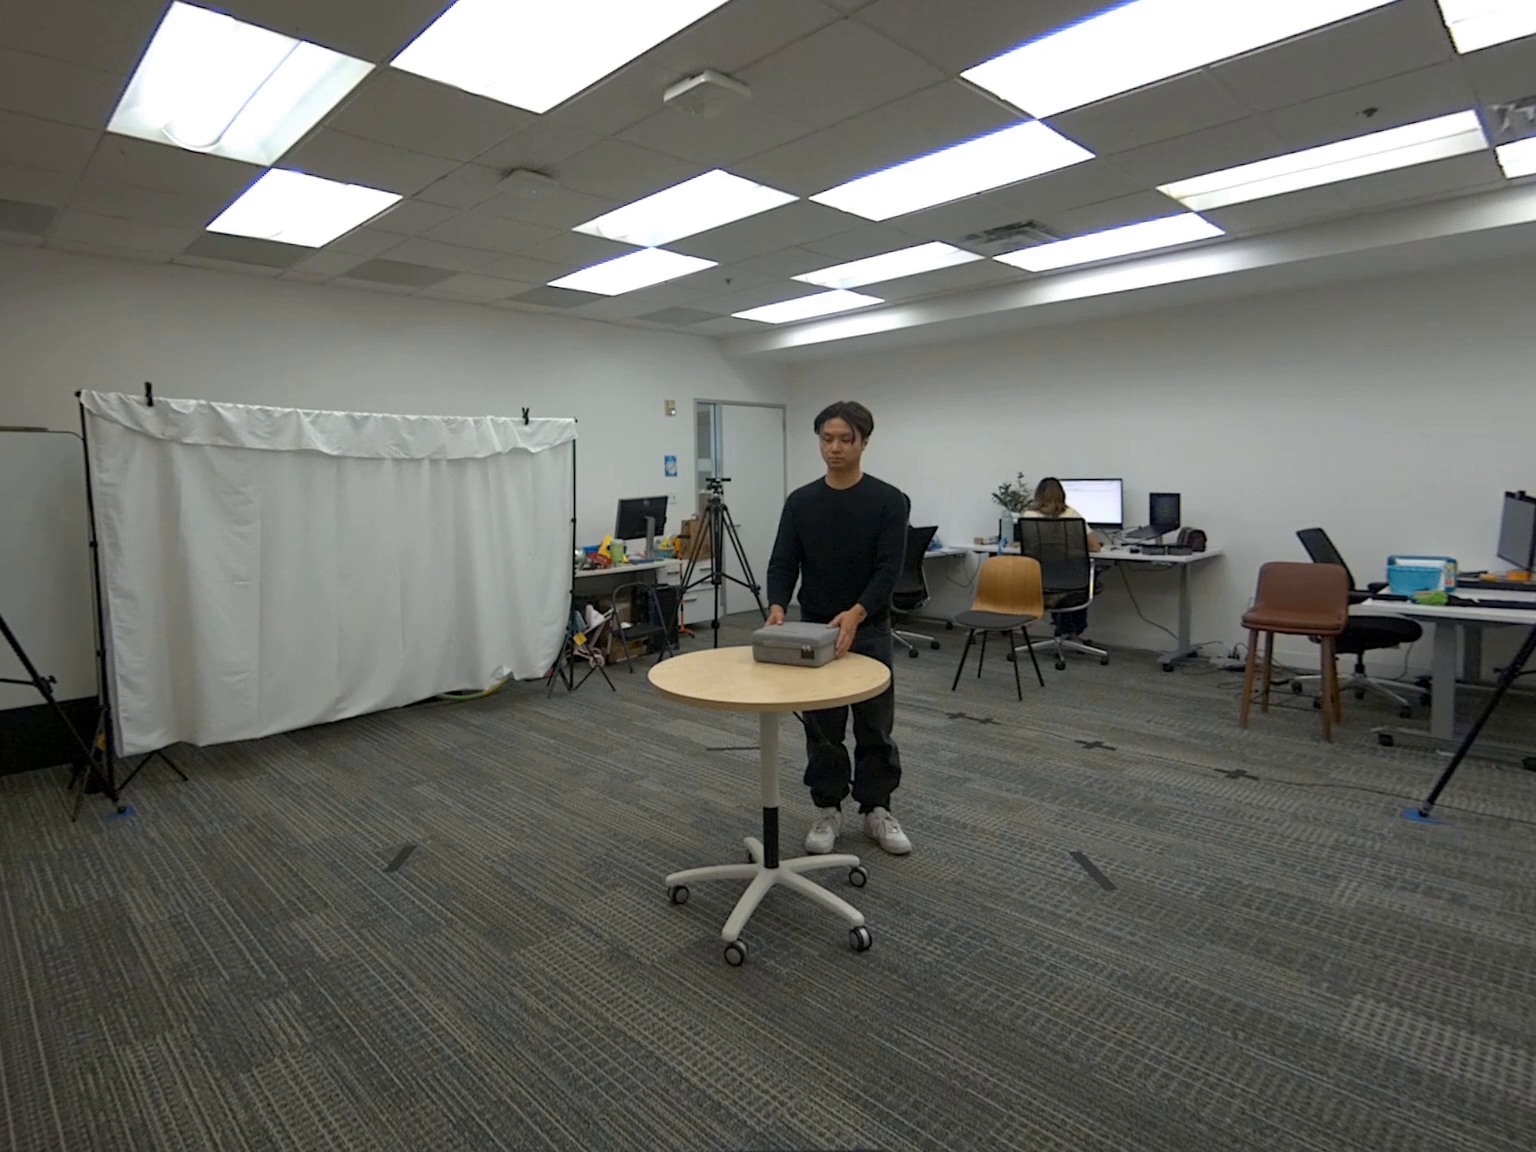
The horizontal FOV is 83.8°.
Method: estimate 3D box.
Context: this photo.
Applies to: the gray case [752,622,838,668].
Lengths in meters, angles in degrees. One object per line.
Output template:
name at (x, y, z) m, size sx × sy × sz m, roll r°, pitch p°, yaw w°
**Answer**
gray case at (0.102, 0.231, 2.885) m, size 0.262 × 0.104 × 0.256 m, roll 1°, pitch 6°, yaw 23°
